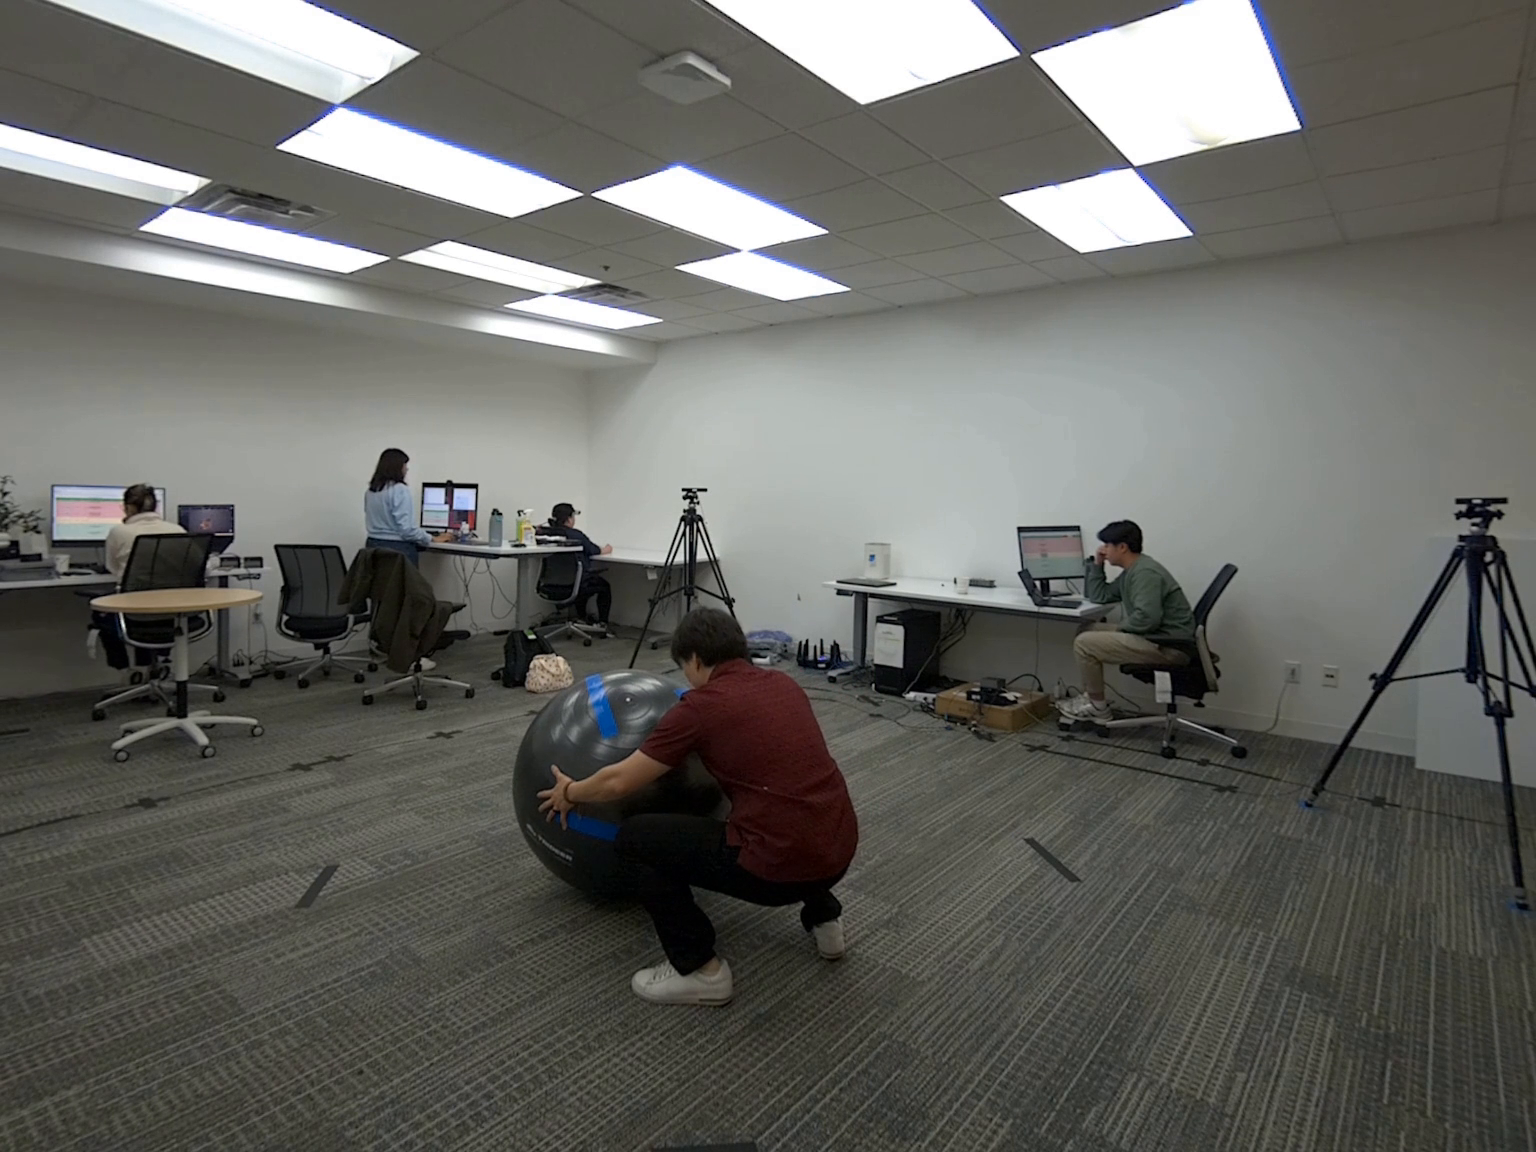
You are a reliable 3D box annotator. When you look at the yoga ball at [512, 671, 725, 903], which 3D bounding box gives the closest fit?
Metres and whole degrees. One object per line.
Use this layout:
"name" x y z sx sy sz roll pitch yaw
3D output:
"yoga ball" -0.515 0.716 2.948 0.757 0.756 0.762 1 4 -2
